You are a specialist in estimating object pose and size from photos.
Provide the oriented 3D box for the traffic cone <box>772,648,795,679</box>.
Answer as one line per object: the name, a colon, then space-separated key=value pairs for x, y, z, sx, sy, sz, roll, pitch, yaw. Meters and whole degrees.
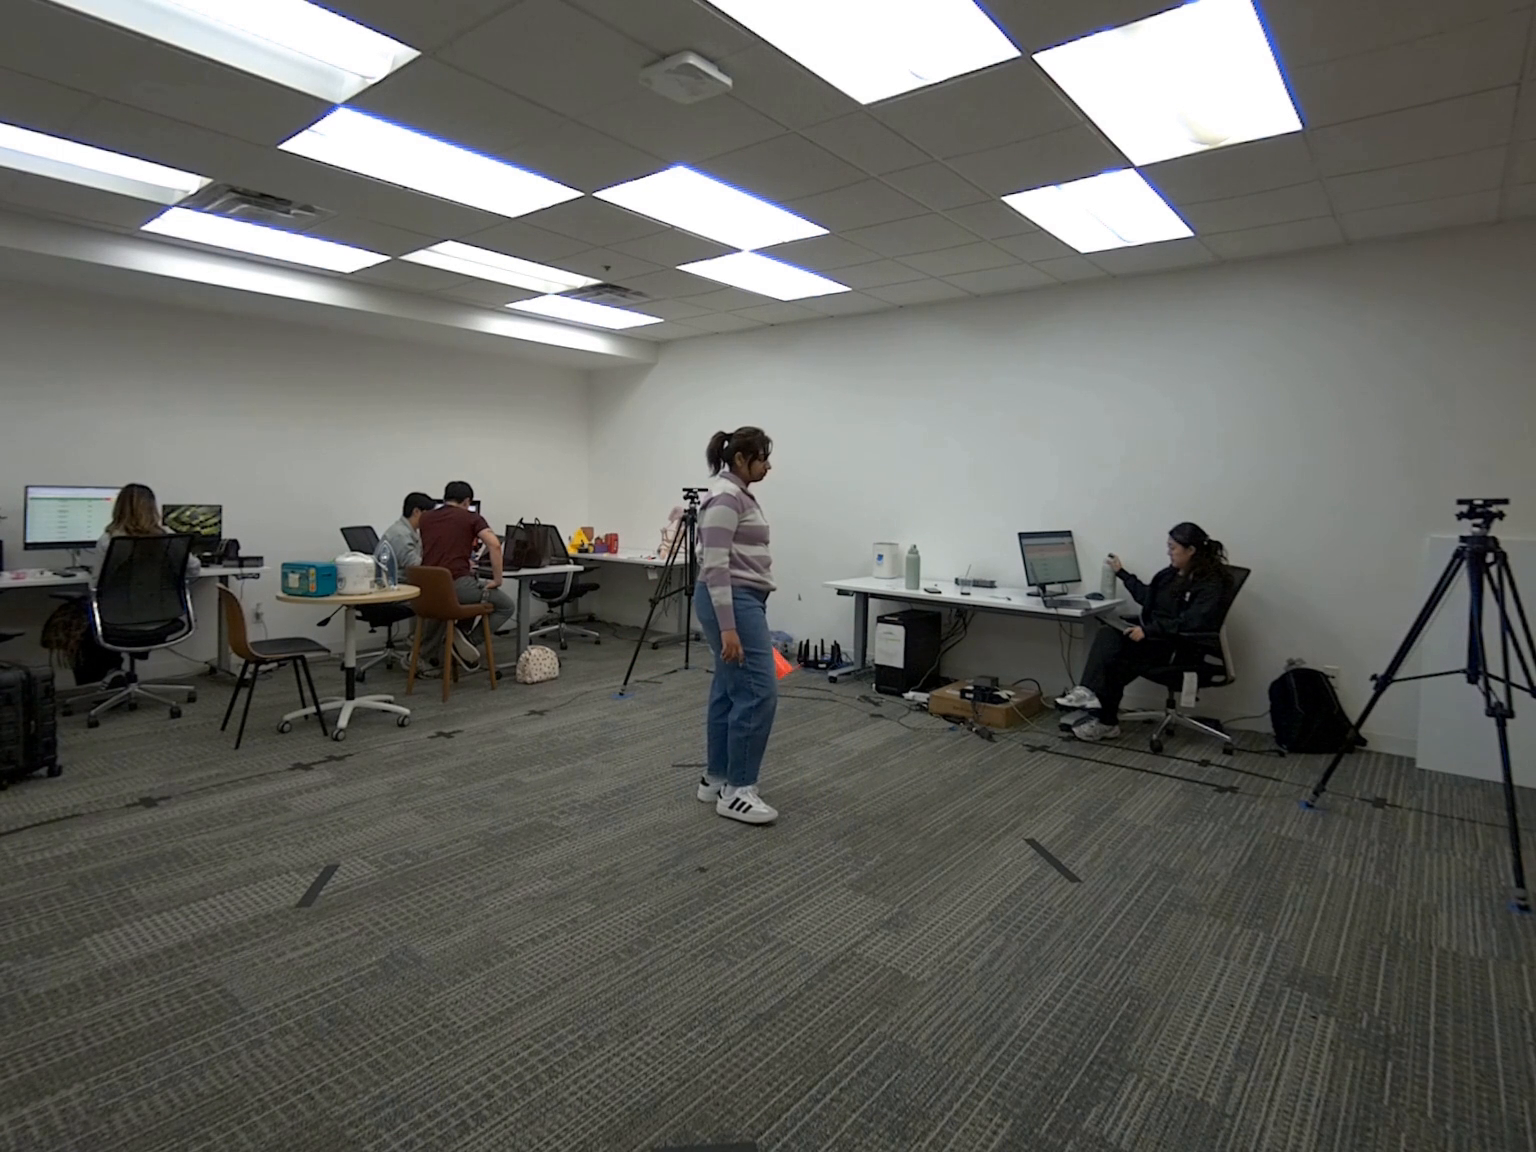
traffic cone: x=-0.064 y=0.322 z=4.049 sx=0.201 sy=0.390 sz=0.204 roll=-22 pitch=-15 yaw=-48
